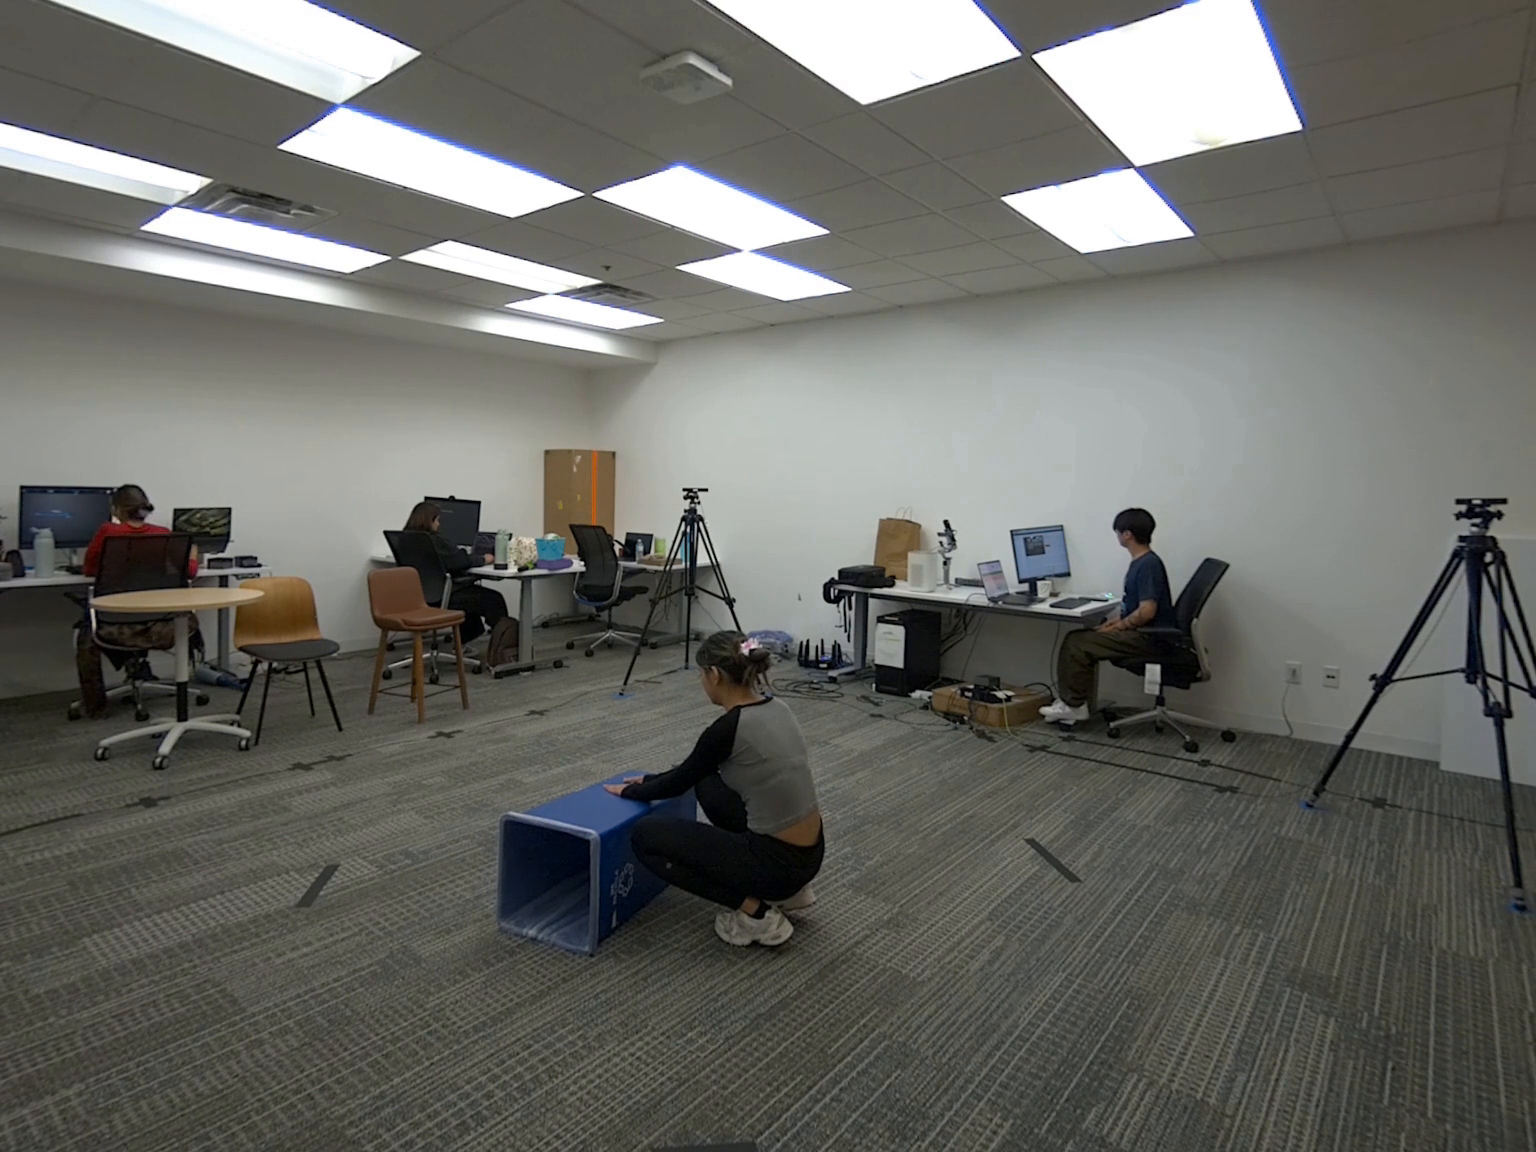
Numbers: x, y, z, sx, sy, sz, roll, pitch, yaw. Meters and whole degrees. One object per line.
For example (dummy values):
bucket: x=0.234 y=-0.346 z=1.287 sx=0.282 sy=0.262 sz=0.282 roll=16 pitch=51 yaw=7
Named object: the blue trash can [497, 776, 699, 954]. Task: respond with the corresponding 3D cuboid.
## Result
blue trash can: x=-0.548 y=0.917 z=2.899 sx=0.384 sy=0.378 sz=0.696 roll=2 pitch=2 yaw=24
